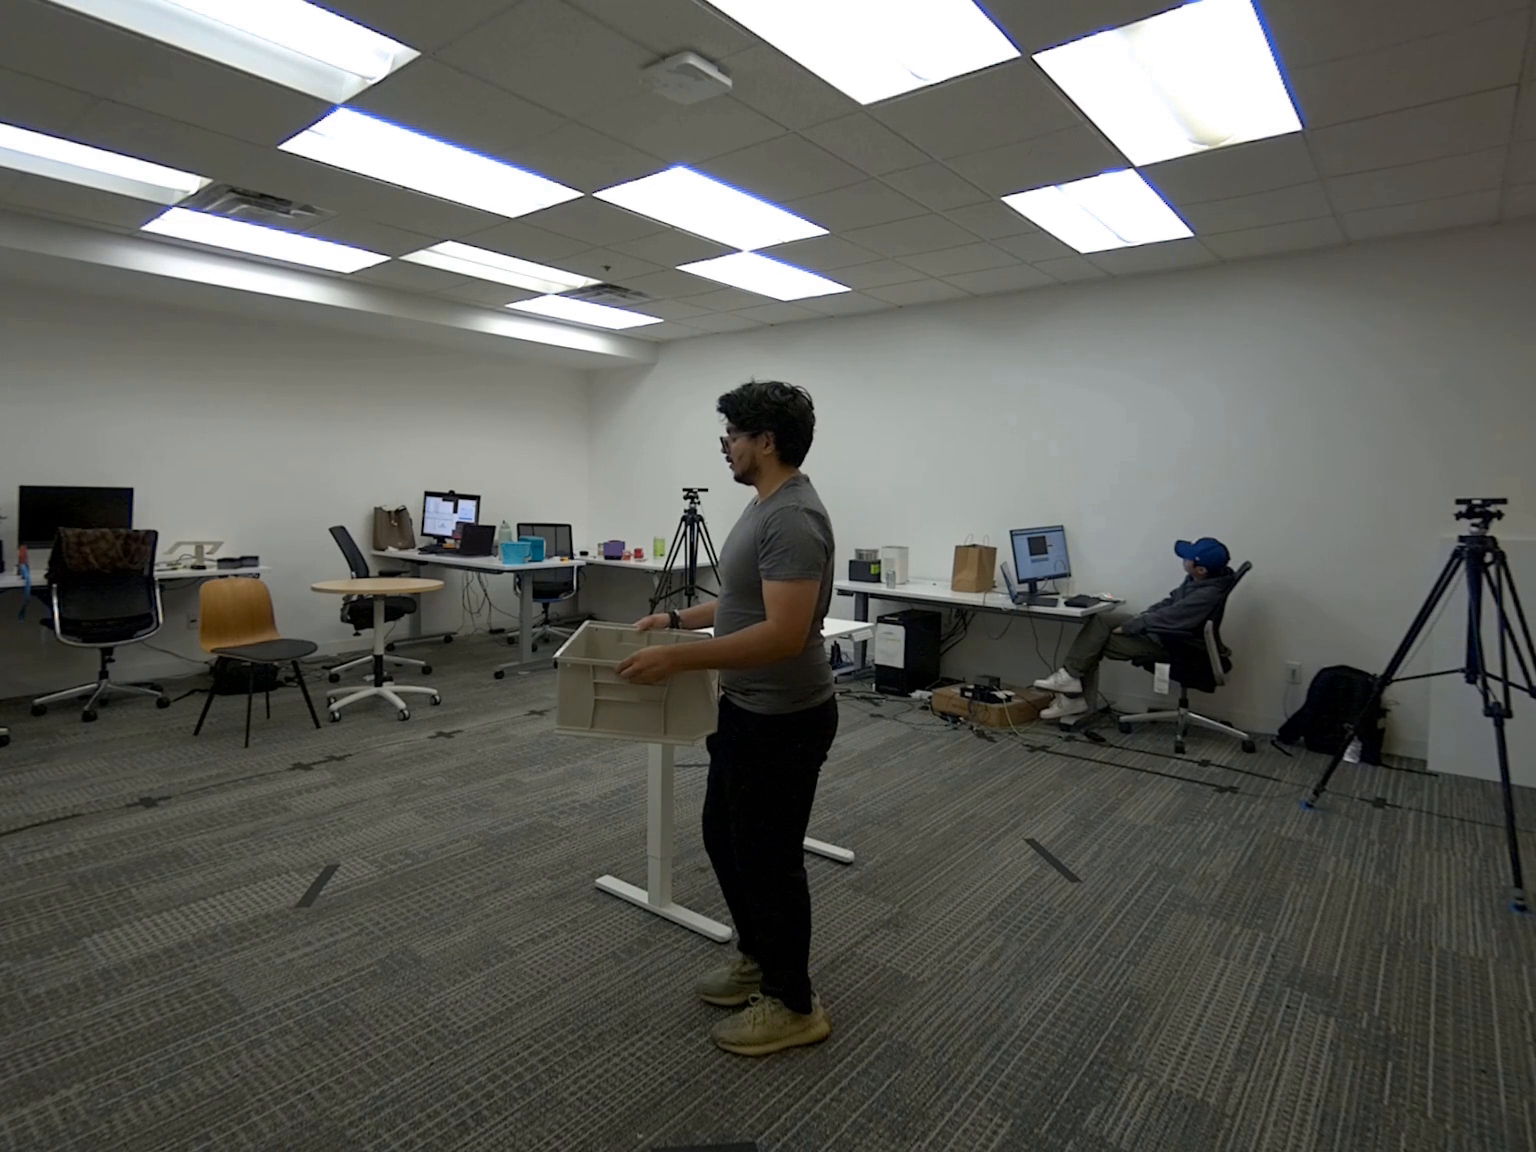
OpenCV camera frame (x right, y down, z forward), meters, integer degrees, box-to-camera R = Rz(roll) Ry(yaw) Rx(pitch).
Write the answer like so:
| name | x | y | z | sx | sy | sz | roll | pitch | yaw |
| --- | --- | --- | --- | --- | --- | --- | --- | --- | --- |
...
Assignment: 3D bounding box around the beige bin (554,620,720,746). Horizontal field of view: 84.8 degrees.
| name | x | y | z | sx | sy | sz | roll | pitch | yaw |
| --- | --- | --- | --- | --- | --- | --- | --- | --- | --- |
| beige bin | -0.312 | 0.253 | 2.090 | 0.377 | 0.188 | 0.425 | 3 | 9 | -1 |
